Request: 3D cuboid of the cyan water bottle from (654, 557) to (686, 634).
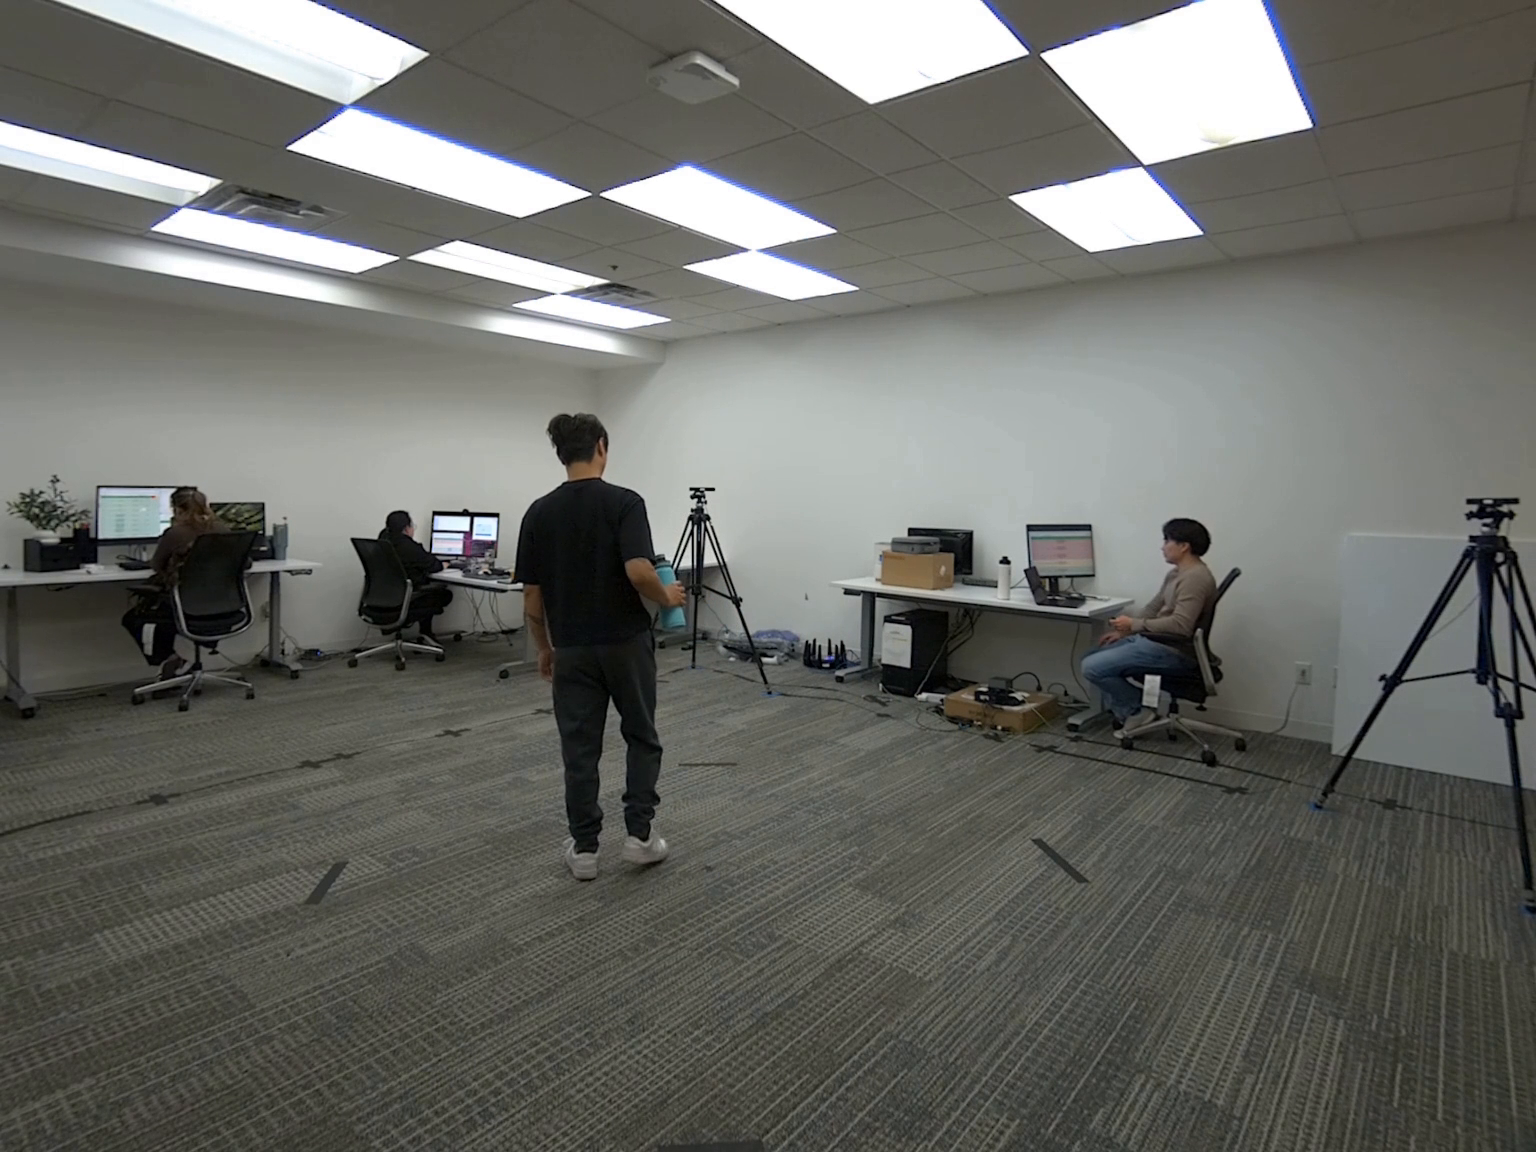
[{"bbox_3d":[-0.392,0.063,3.196,0.092,0.288,0.091,-12,-14,-5],"label":"cyan water bottle"}]
